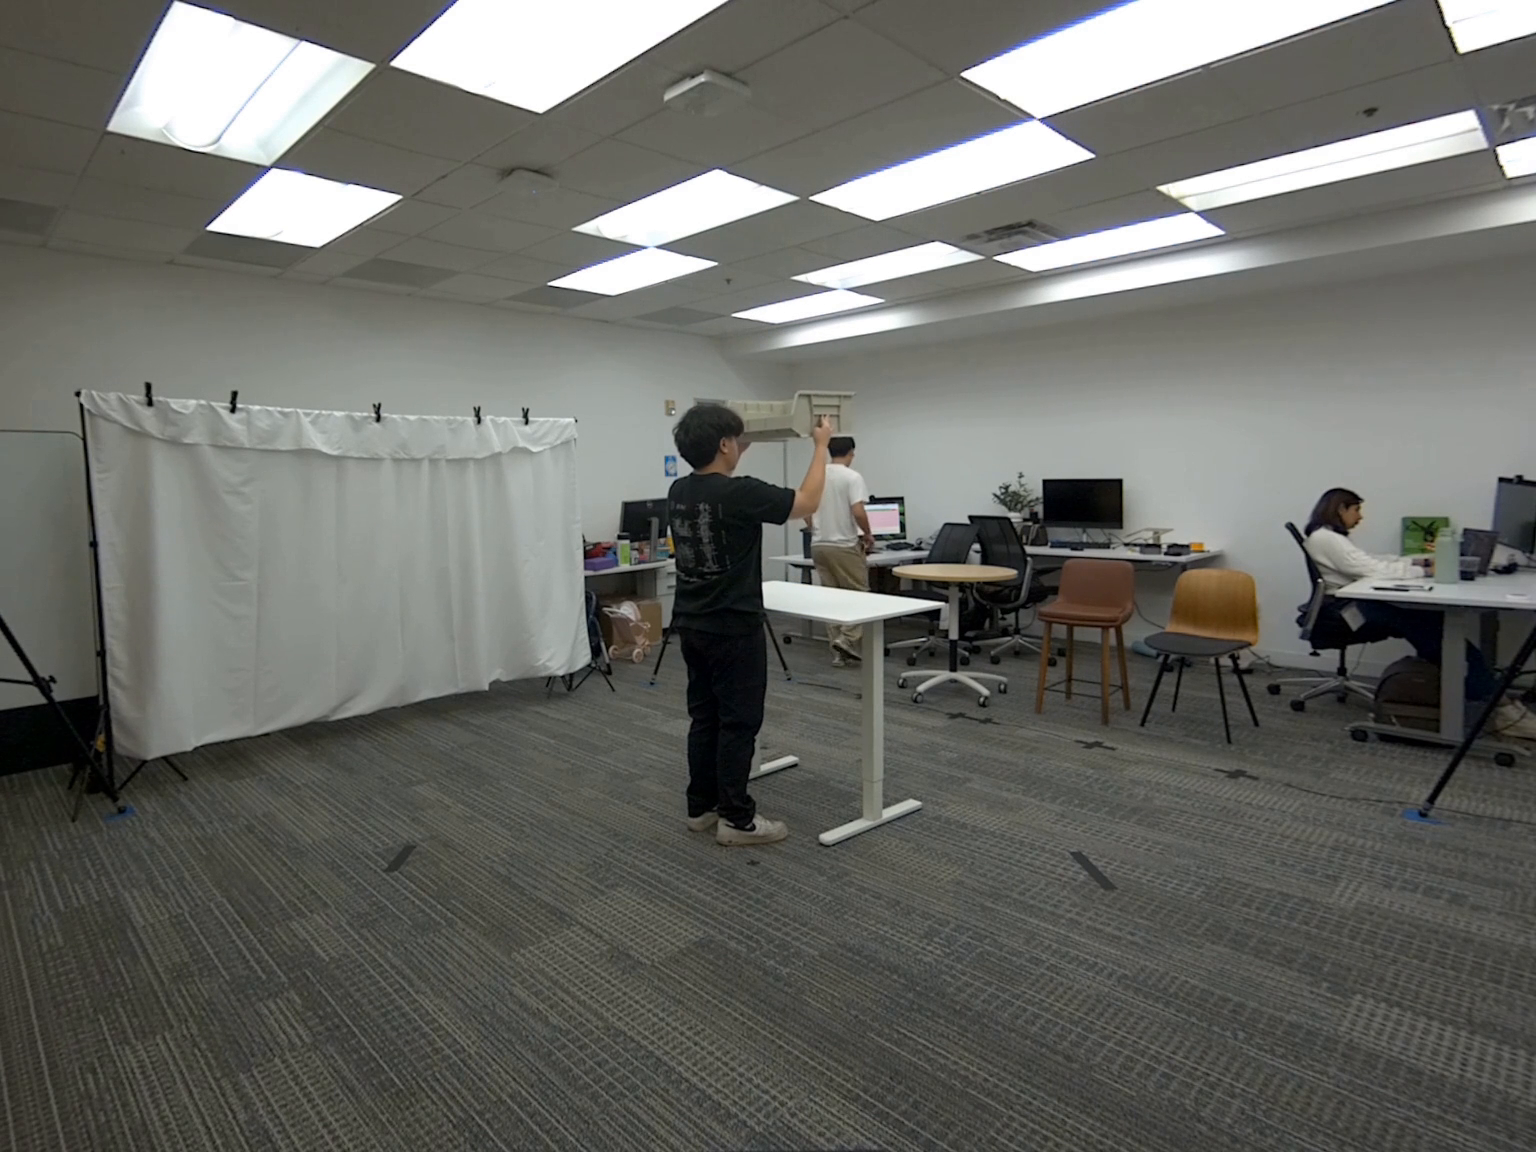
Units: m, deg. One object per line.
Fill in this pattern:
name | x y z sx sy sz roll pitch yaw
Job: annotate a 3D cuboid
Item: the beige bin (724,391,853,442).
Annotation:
beige bin | 0.087 -0.653 3.544 0.368 0.188 0.435 -8 9 -42
